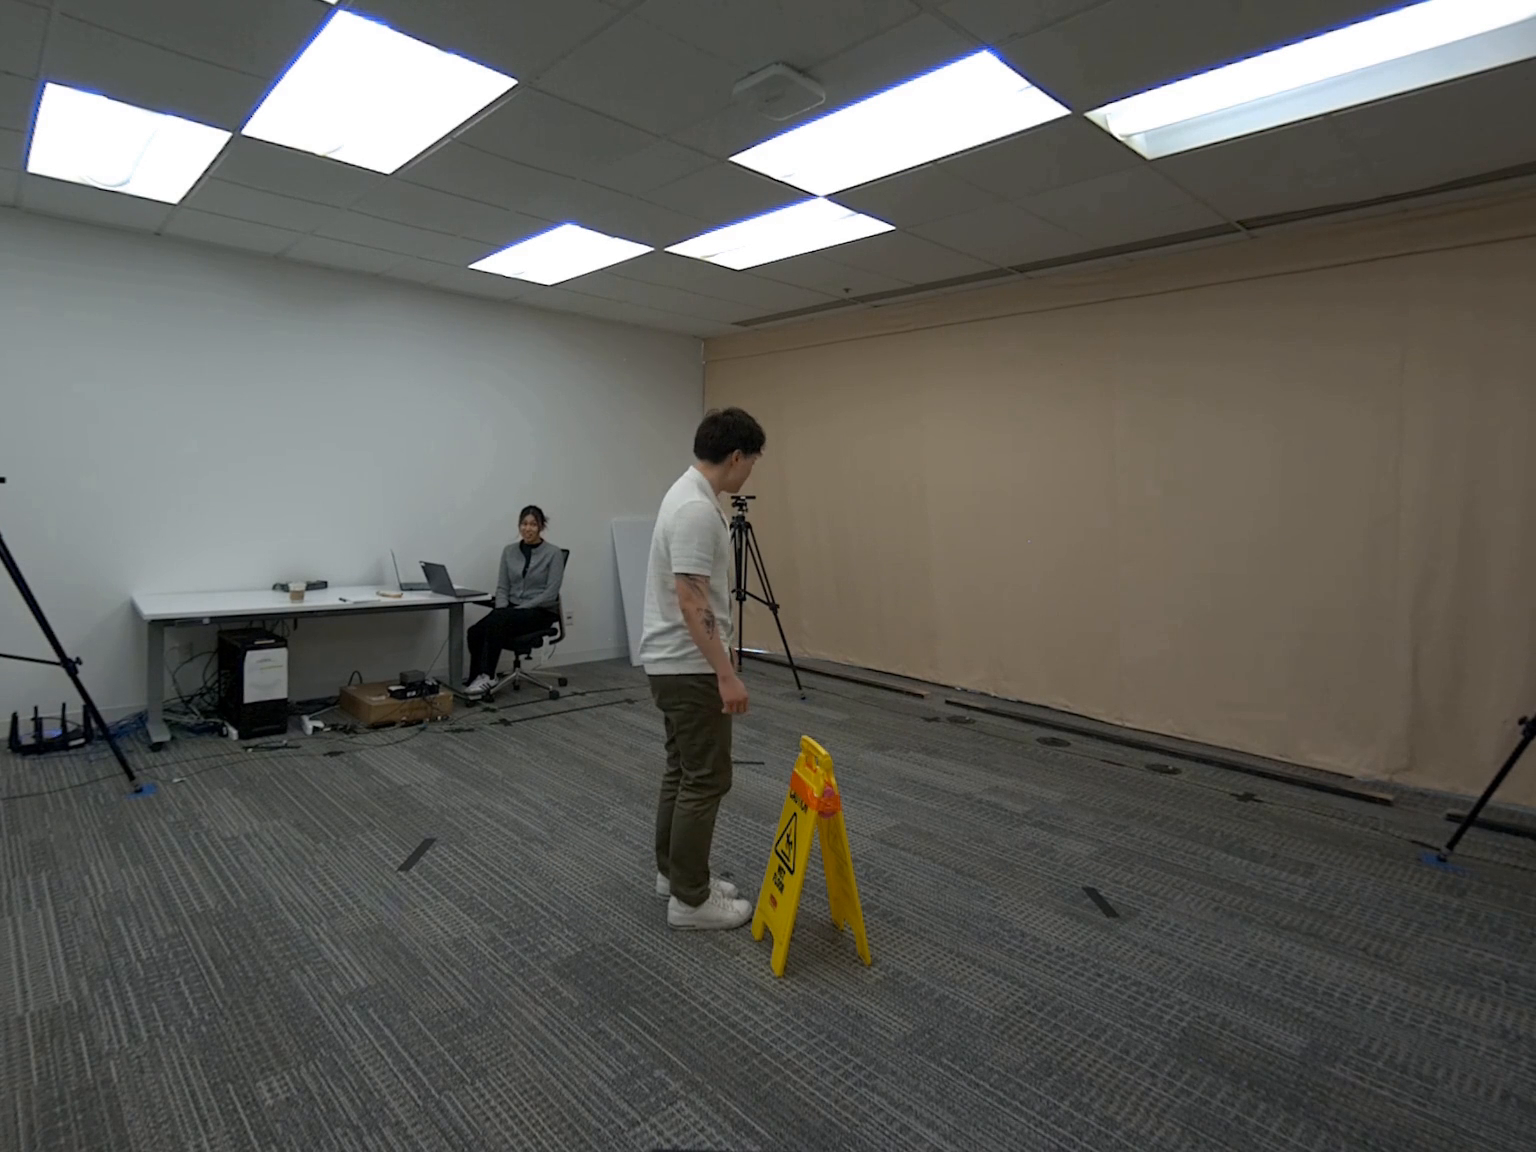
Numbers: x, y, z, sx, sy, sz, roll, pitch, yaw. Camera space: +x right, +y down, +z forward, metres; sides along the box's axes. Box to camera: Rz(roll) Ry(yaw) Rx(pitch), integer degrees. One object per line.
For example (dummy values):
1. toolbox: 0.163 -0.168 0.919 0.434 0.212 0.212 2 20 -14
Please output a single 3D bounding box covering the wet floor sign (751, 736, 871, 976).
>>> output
1. wet floor sign: 0.136 0.832 2.589 0.286 0.644 0.287 0 4 -17
